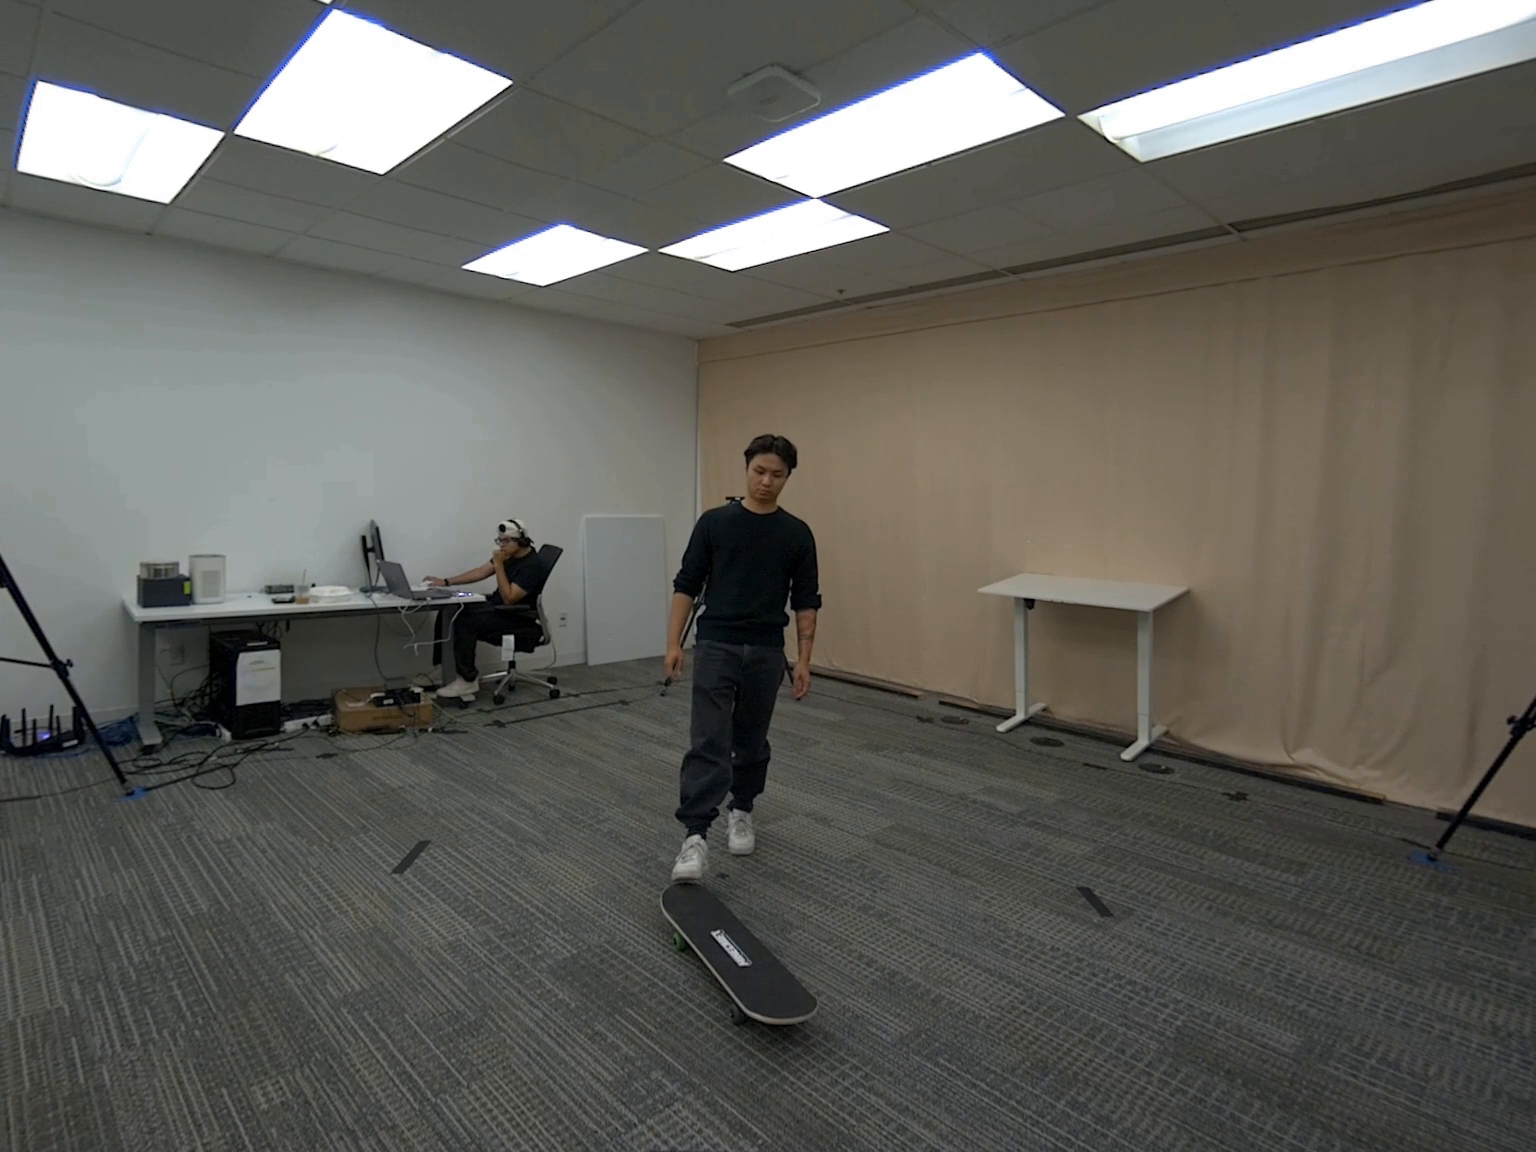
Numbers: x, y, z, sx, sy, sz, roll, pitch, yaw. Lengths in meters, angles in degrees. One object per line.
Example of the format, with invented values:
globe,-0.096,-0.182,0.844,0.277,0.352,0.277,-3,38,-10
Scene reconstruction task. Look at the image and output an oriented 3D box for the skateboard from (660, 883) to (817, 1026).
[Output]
skateboard,-0.120,1.116,2.444,0.190,0.110,0.803,-2,6,-28
